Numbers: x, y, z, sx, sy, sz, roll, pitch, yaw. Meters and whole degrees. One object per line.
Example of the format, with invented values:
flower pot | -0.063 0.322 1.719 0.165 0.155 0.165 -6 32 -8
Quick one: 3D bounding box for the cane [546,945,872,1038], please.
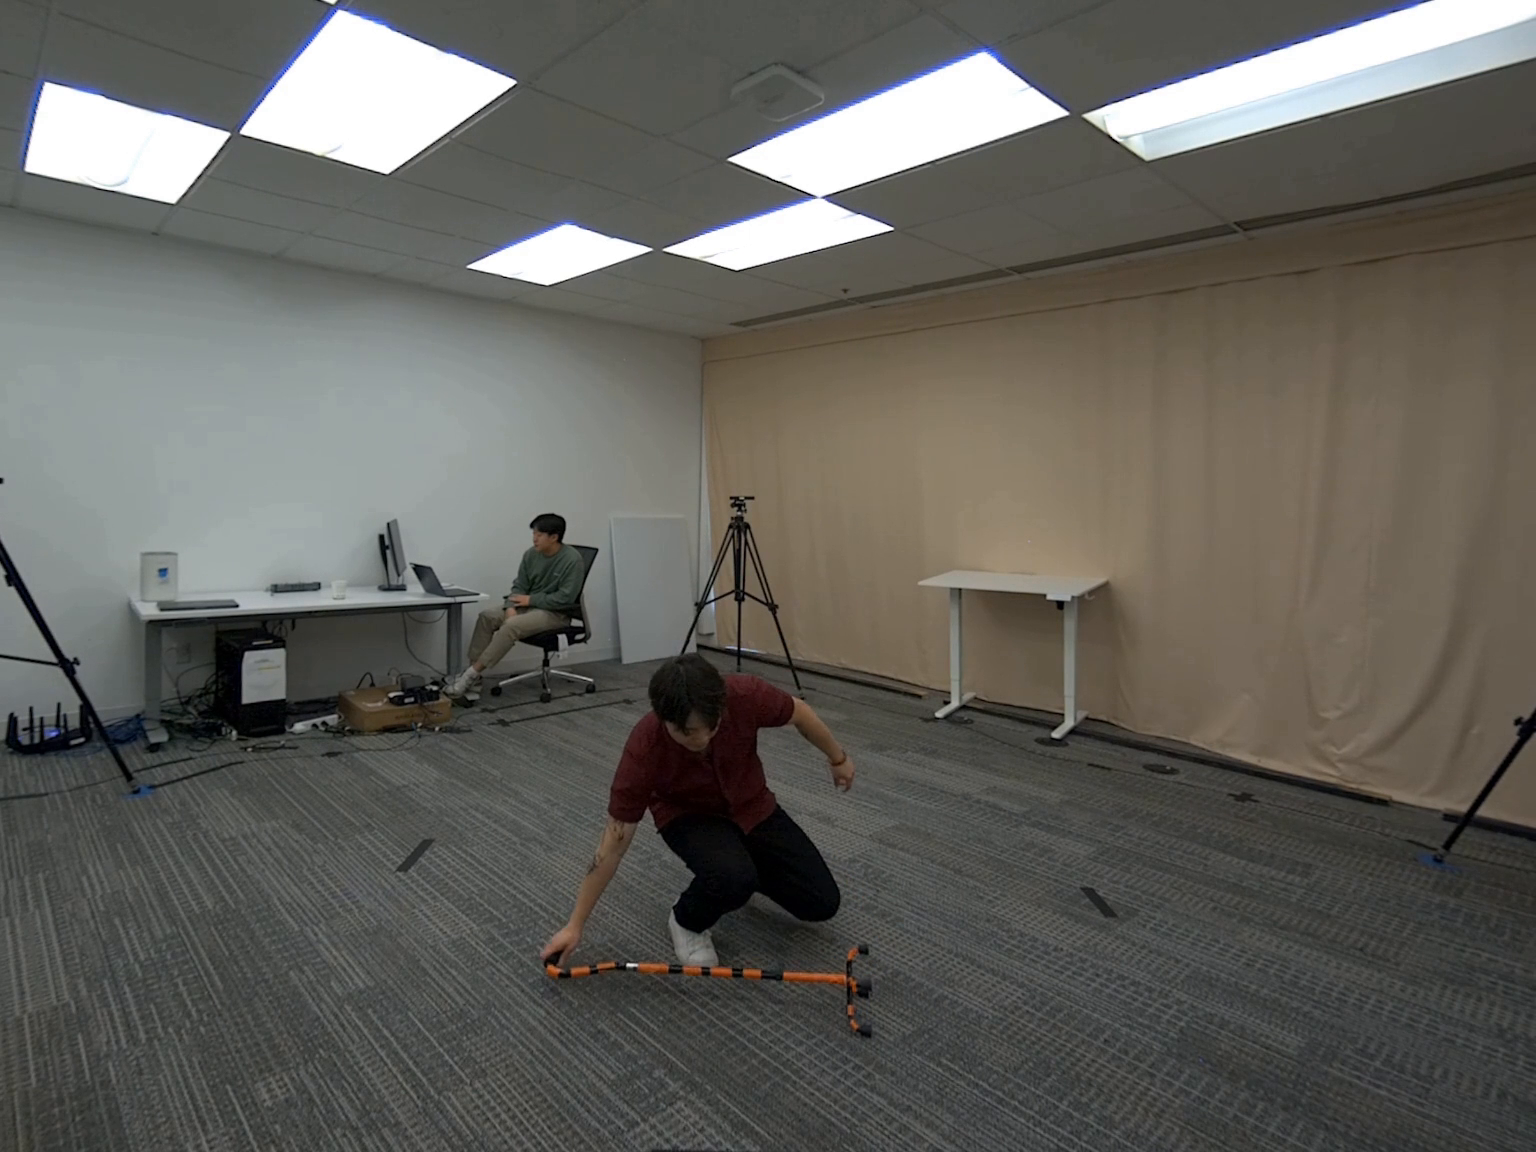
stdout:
cane | -0.178 1.101 2.324 0.913 0.151 0.206 1 6 6
